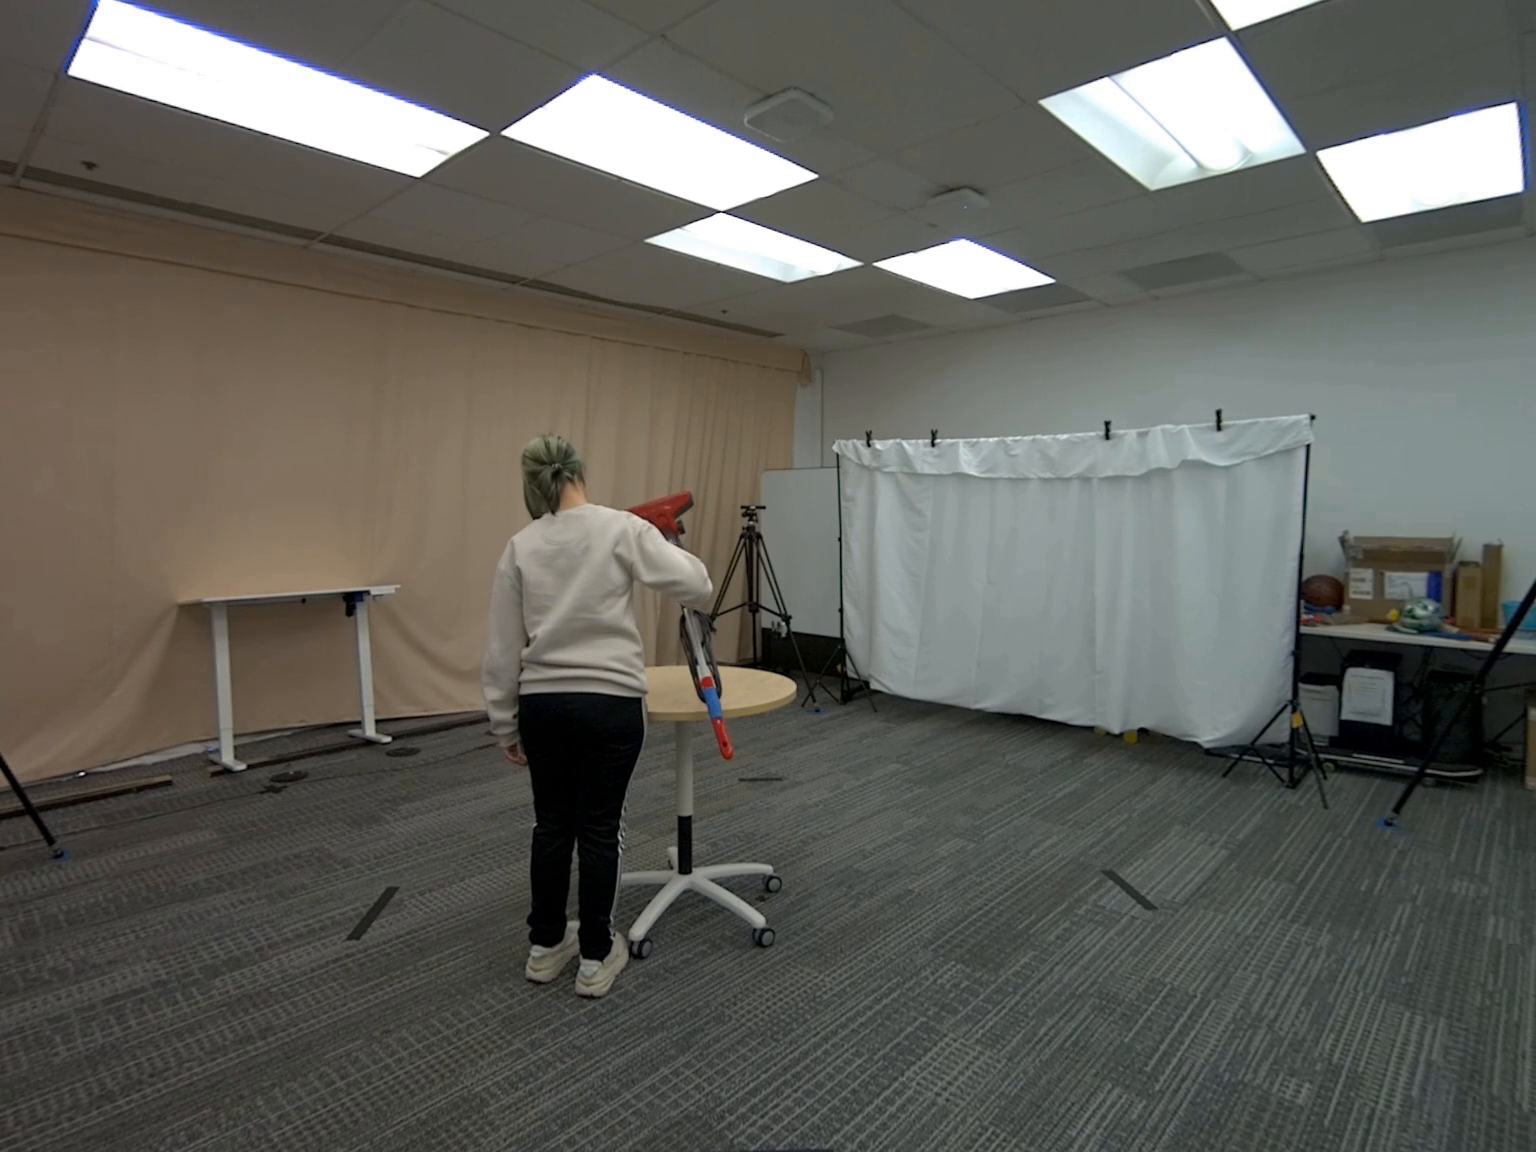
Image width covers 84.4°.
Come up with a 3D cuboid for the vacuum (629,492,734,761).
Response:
[{"bbox_3d":[-0.241,0.143,2.625,0.252,0.140,1.079,-18,45,-3],"label":"vacuum"}]
